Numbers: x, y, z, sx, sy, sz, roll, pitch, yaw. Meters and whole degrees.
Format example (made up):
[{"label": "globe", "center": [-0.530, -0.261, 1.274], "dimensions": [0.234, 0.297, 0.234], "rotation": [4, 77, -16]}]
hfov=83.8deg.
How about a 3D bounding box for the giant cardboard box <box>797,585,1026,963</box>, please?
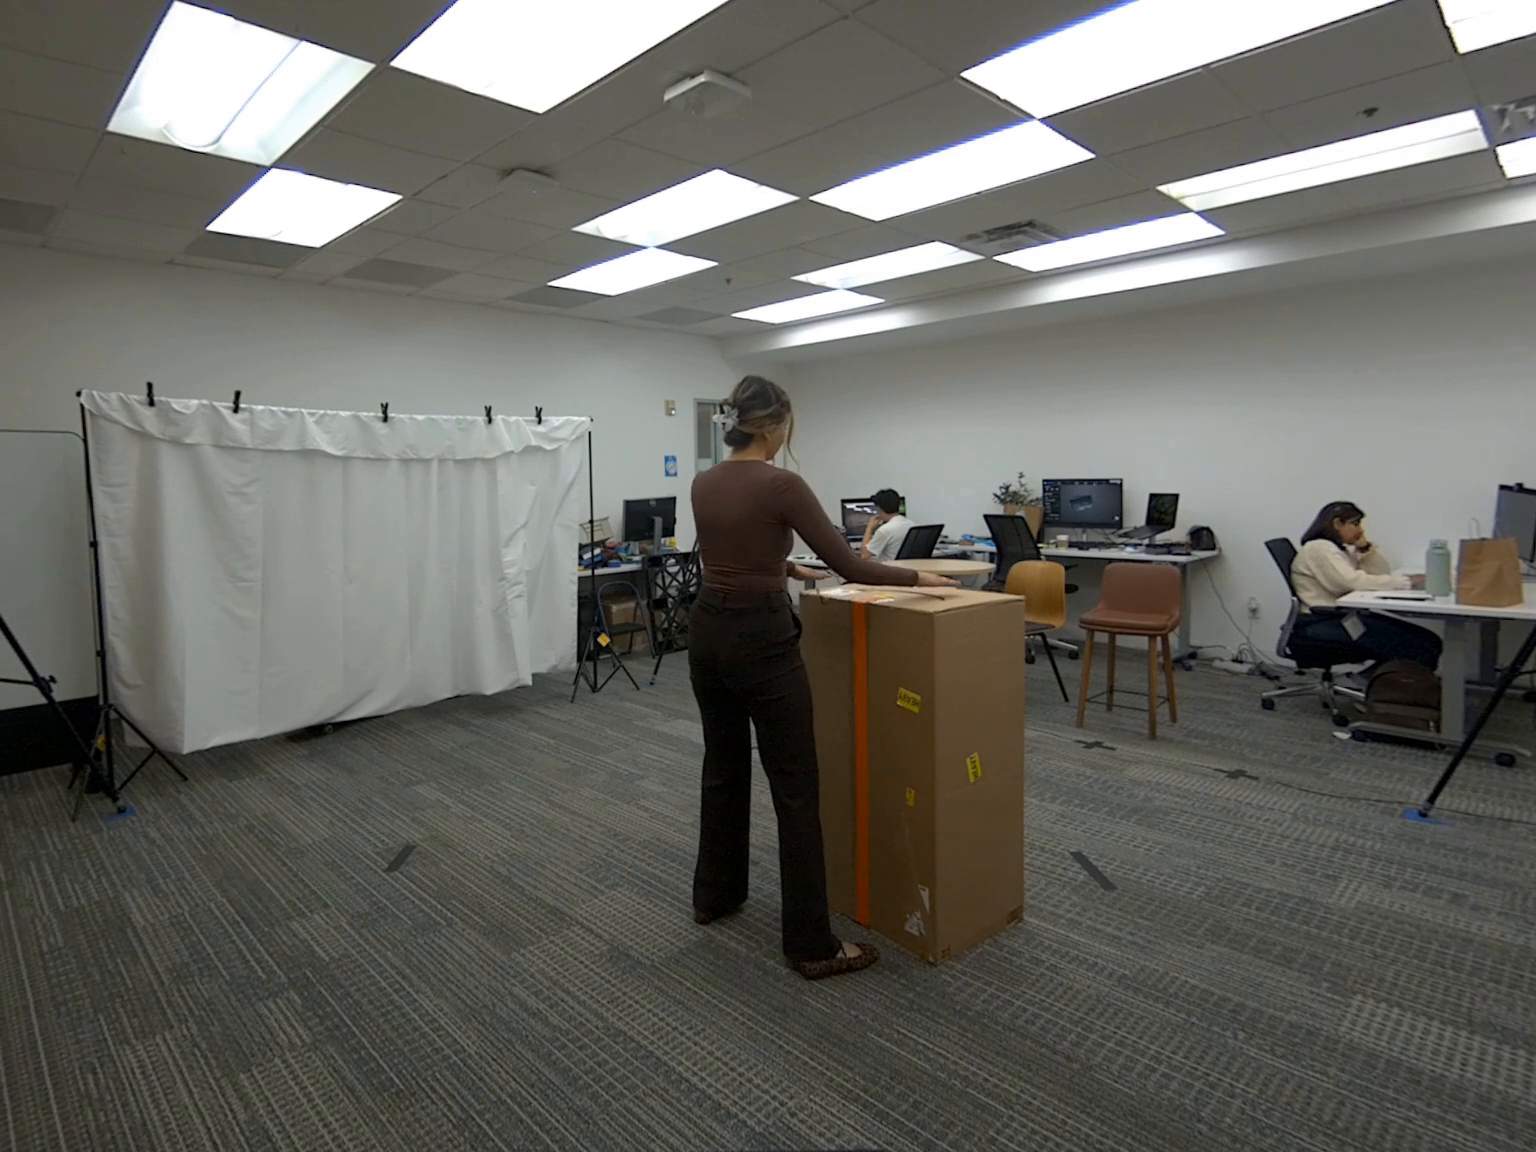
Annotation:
[{"label": "giant cardboard box", "center": [0.453, 0.562, 2.750], "dimensions": [0.435, 1.023, 0.601], "rotation": [-5, 6, -37]}]
